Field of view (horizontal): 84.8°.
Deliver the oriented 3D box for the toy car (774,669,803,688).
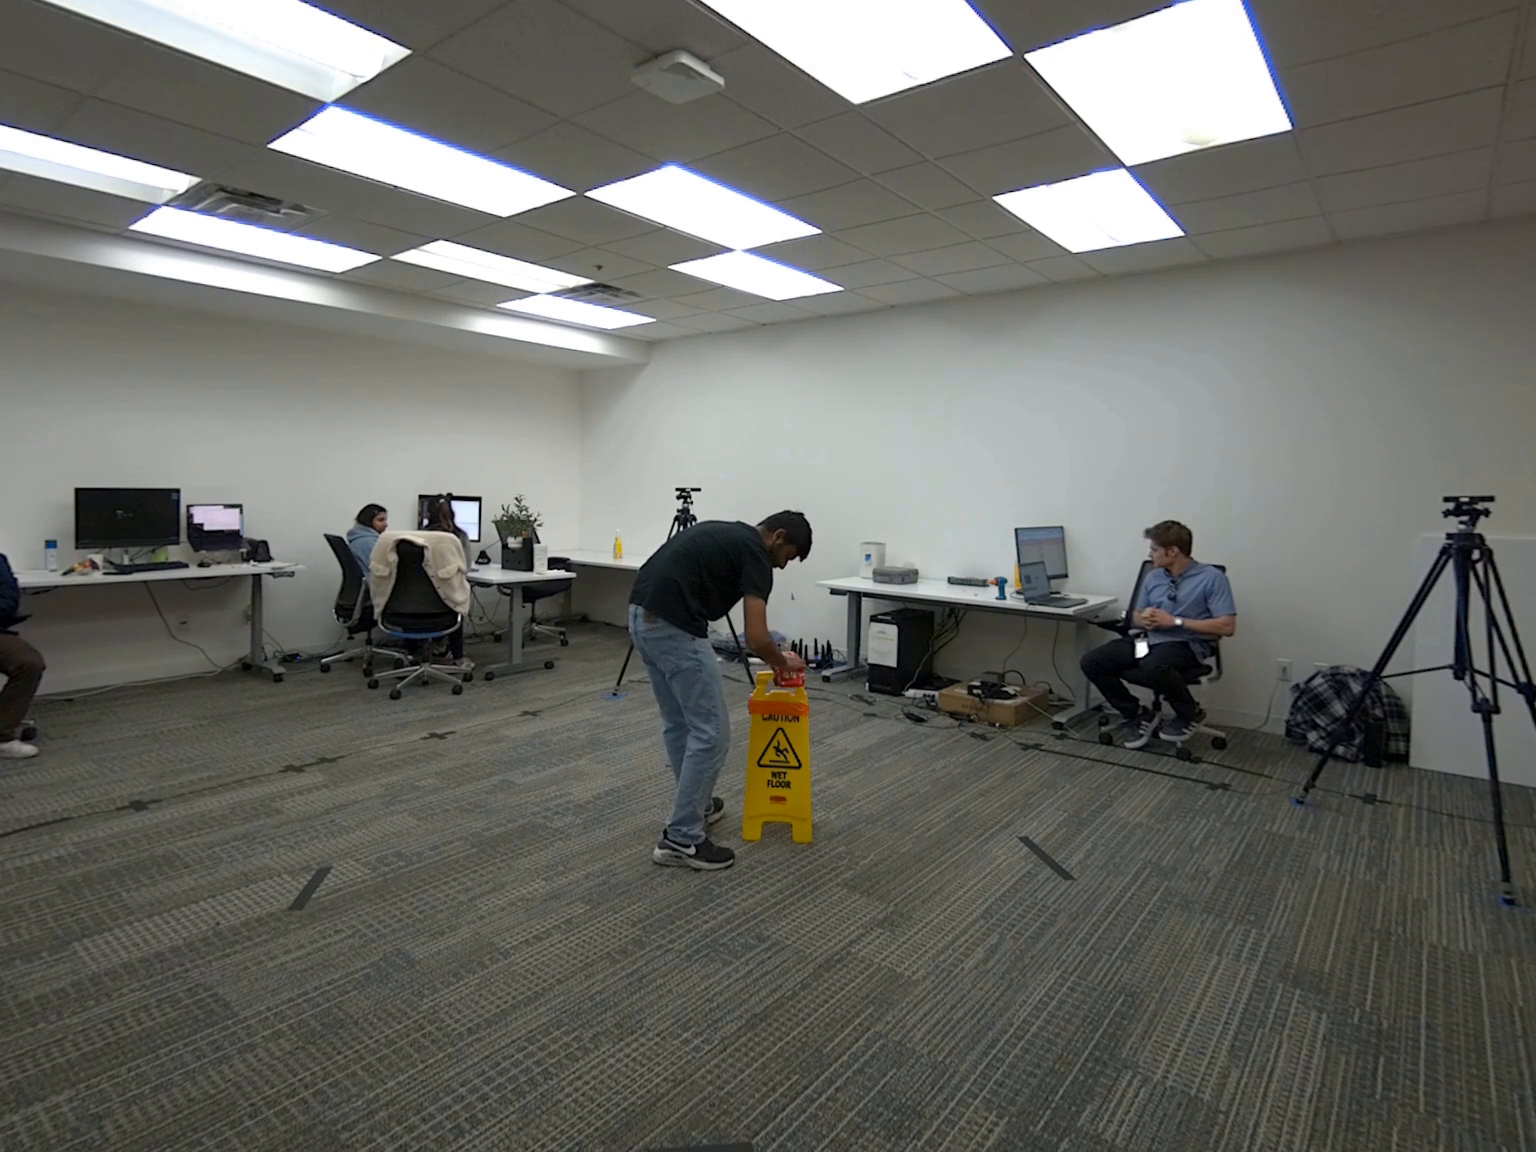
[{"bbox_3d":[0.066,0.387,3.417,0.130,0.082,0.258,0,11,-6],"label":"toy car"}]
